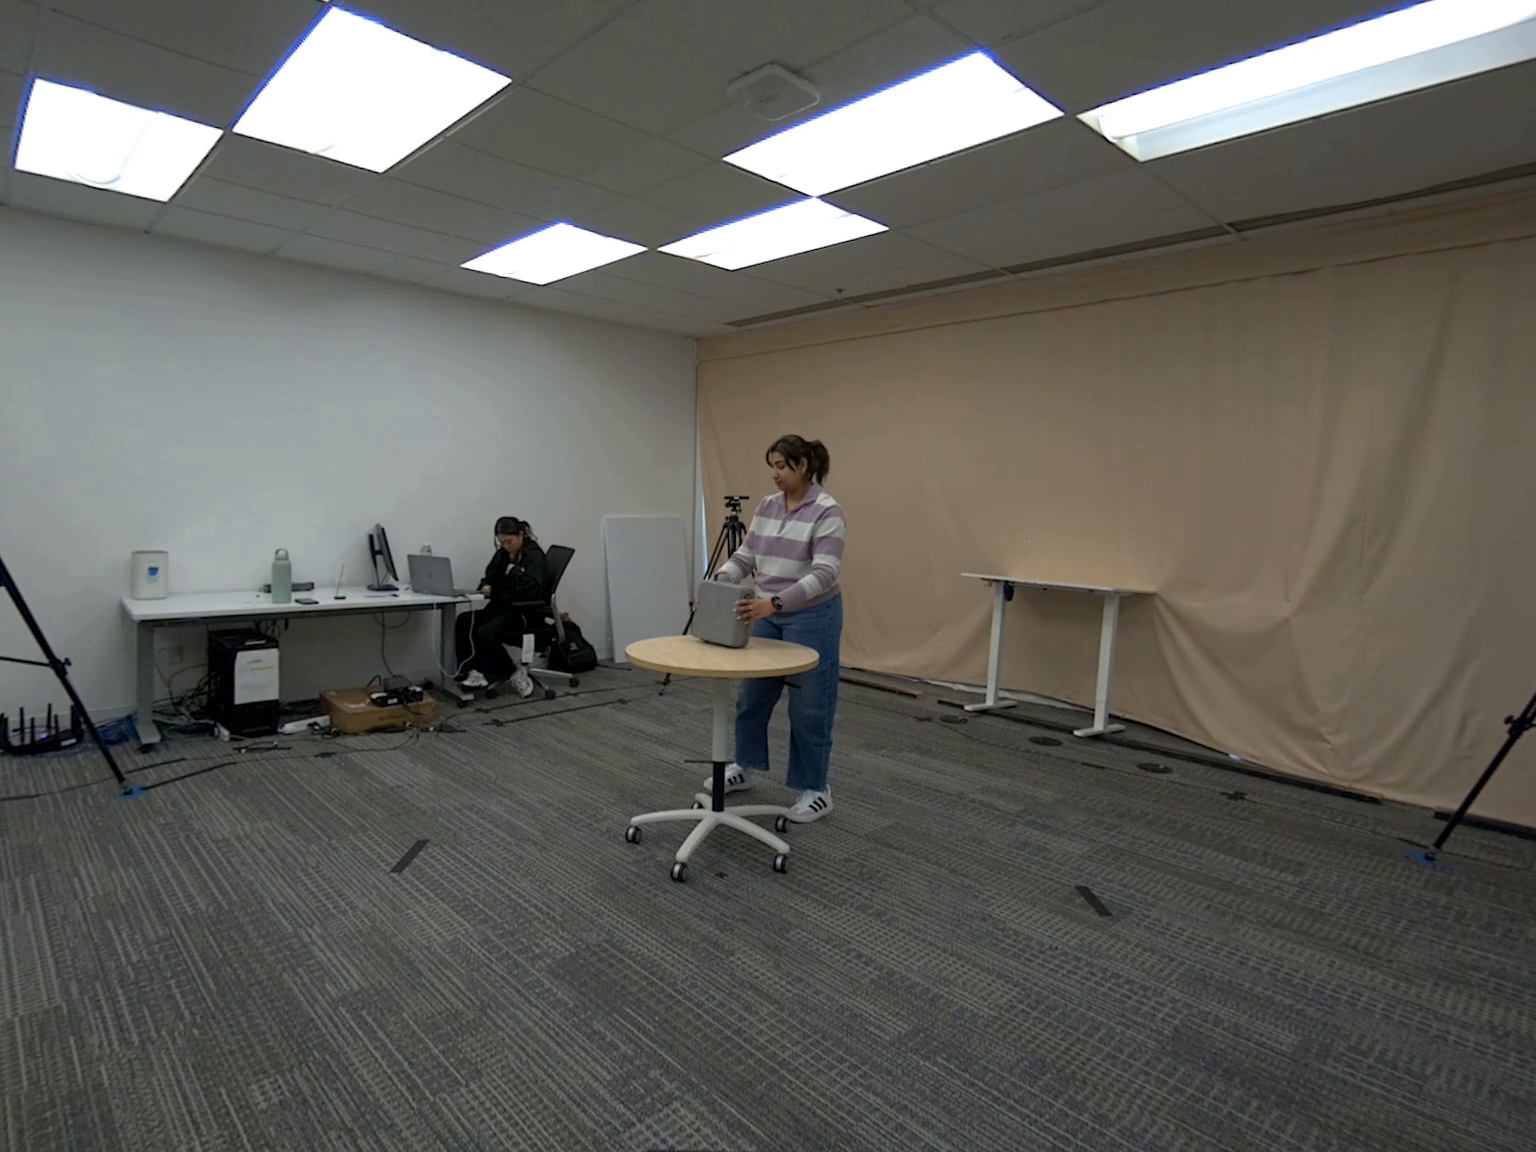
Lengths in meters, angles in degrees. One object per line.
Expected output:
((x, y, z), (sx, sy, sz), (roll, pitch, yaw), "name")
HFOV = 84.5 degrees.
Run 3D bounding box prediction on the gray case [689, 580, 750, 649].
((-0.191, 0.151, 3.471), (0.264, 0.260, 0.101), (8, 1, 43), "gray case")
